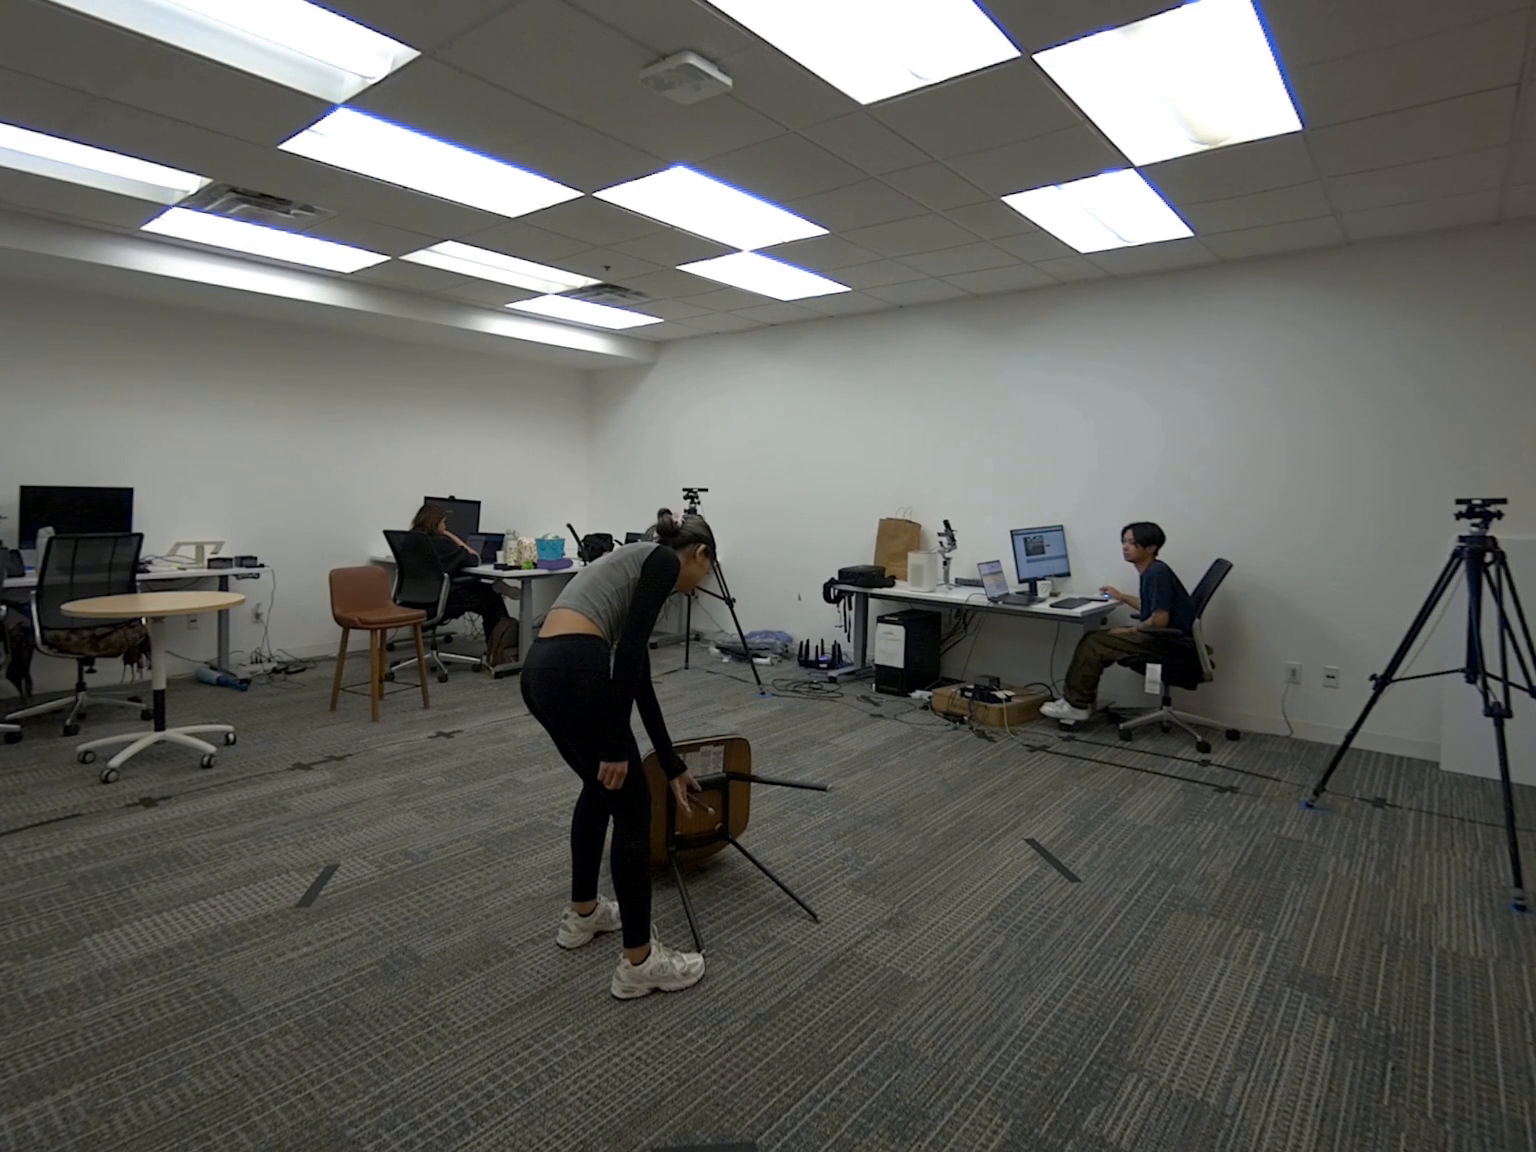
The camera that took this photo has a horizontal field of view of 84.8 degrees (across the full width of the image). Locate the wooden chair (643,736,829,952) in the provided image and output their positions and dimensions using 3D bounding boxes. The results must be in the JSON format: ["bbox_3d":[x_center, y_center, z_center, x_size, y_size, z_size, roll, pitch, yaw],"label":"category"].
[{"bbox_3d":[-0.246,0.820,2.970,0.465,0.522,0.905,-1,4,-33],"label":"wooden chair"}]
